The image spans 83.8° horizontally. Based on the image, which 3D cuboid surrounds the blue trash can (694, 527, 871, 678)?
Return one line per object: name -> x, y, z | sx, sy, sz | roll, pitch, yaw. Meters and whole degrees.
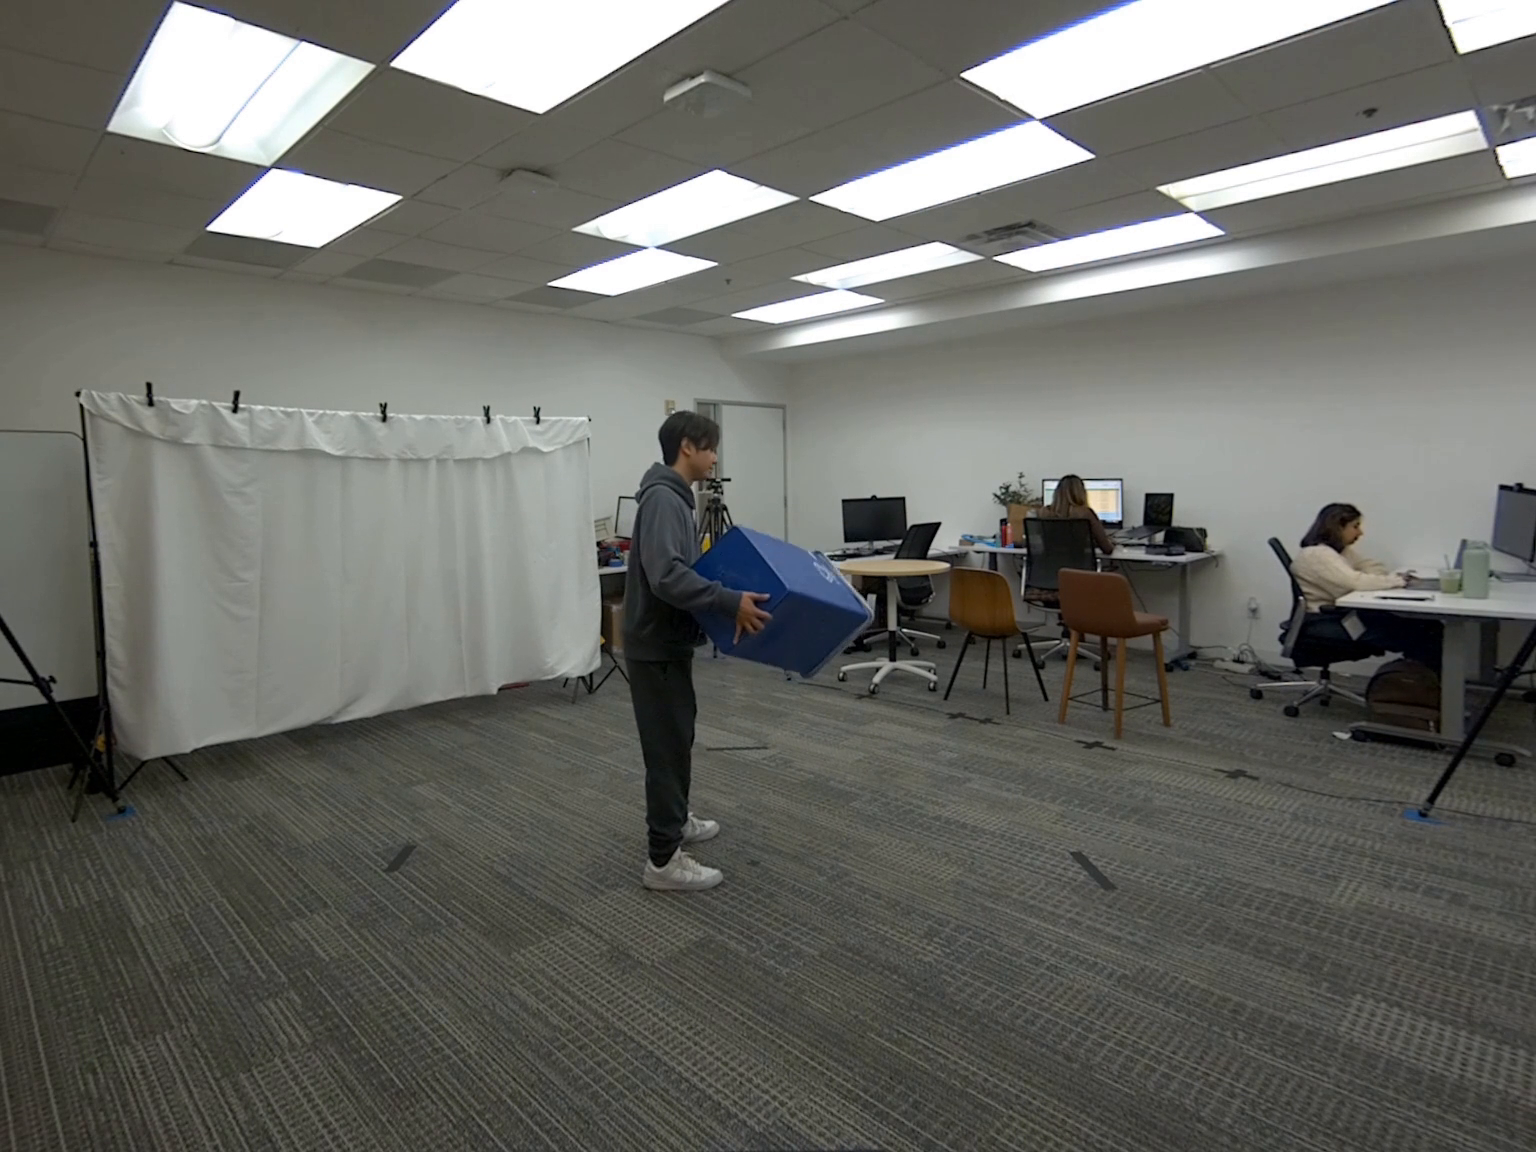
blue trash can -> 0.030, 0.103, 2.996 | 0.378, 0.385, 0.692 | -45, -24, 13
